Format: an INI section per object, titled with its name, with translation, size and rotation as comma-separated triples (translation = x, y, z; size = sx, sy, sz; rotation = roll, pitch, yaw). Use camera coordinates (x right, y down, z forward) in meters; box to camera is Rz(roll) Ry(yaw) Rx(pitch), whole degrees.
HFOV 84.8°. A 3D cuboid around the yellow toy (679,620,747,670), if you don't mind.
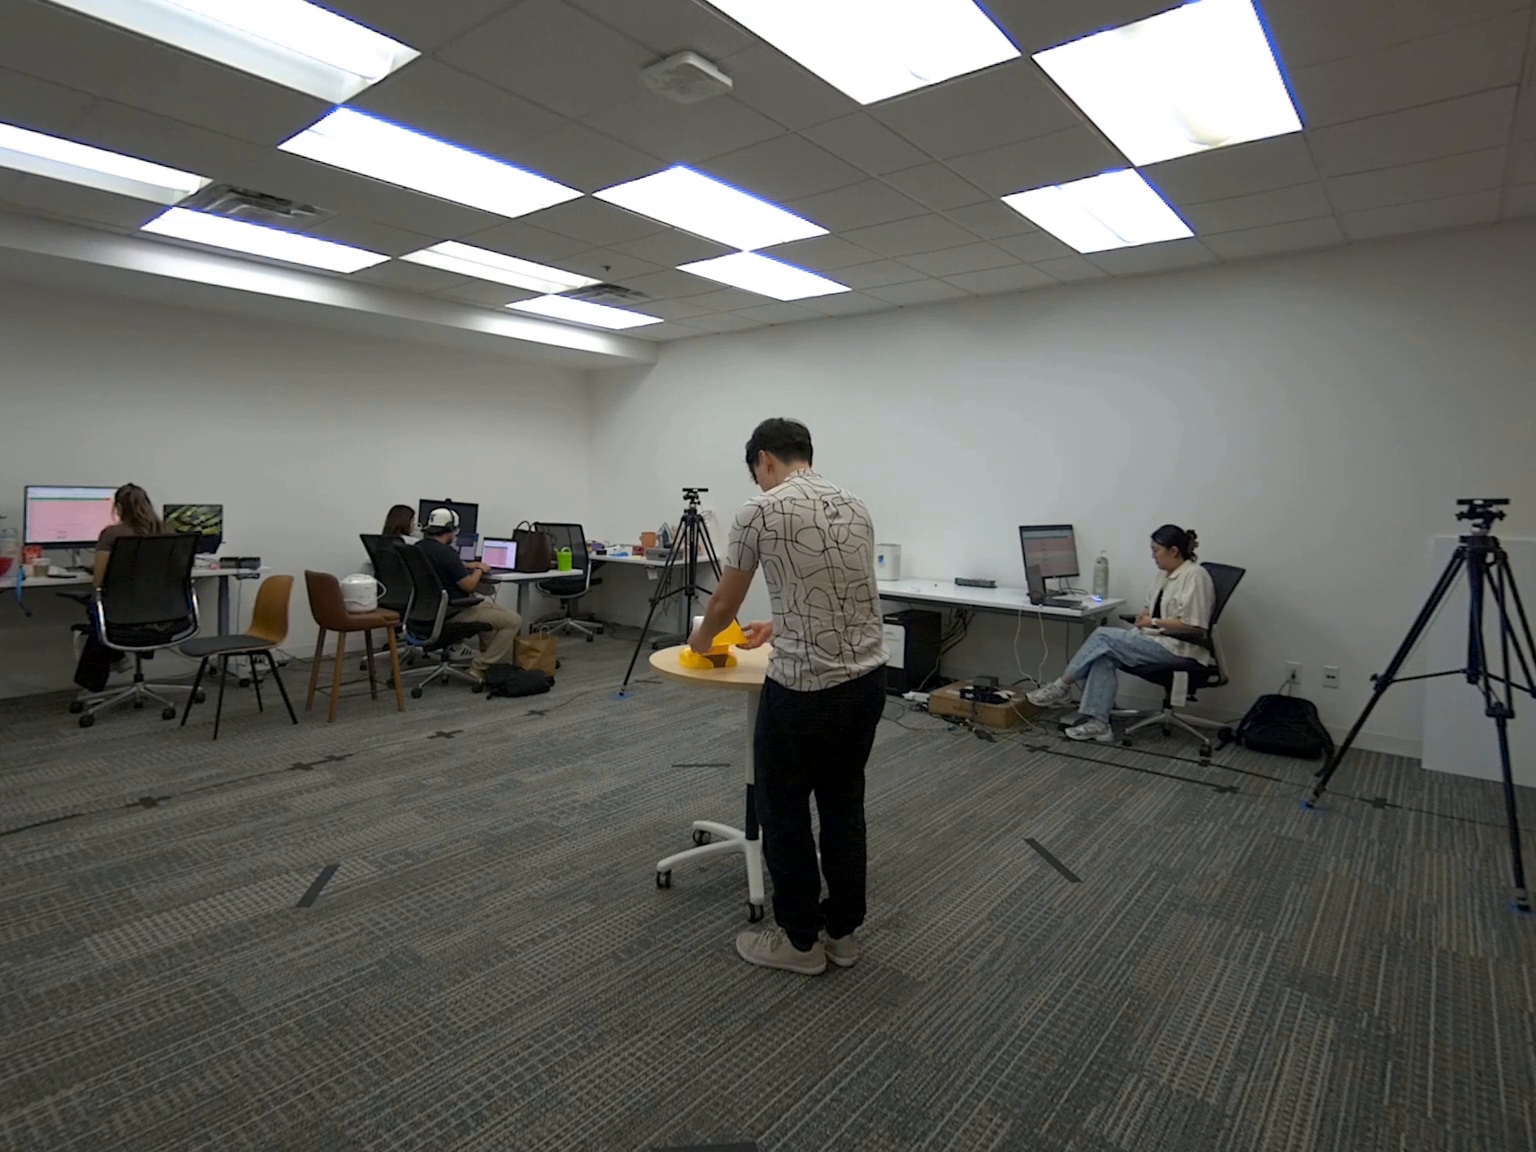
[yellow toy]
translation = -0.209, 0.189, 2.942
size = 0.199, 0.230, 0.199
rotation = -1, 4, -33
